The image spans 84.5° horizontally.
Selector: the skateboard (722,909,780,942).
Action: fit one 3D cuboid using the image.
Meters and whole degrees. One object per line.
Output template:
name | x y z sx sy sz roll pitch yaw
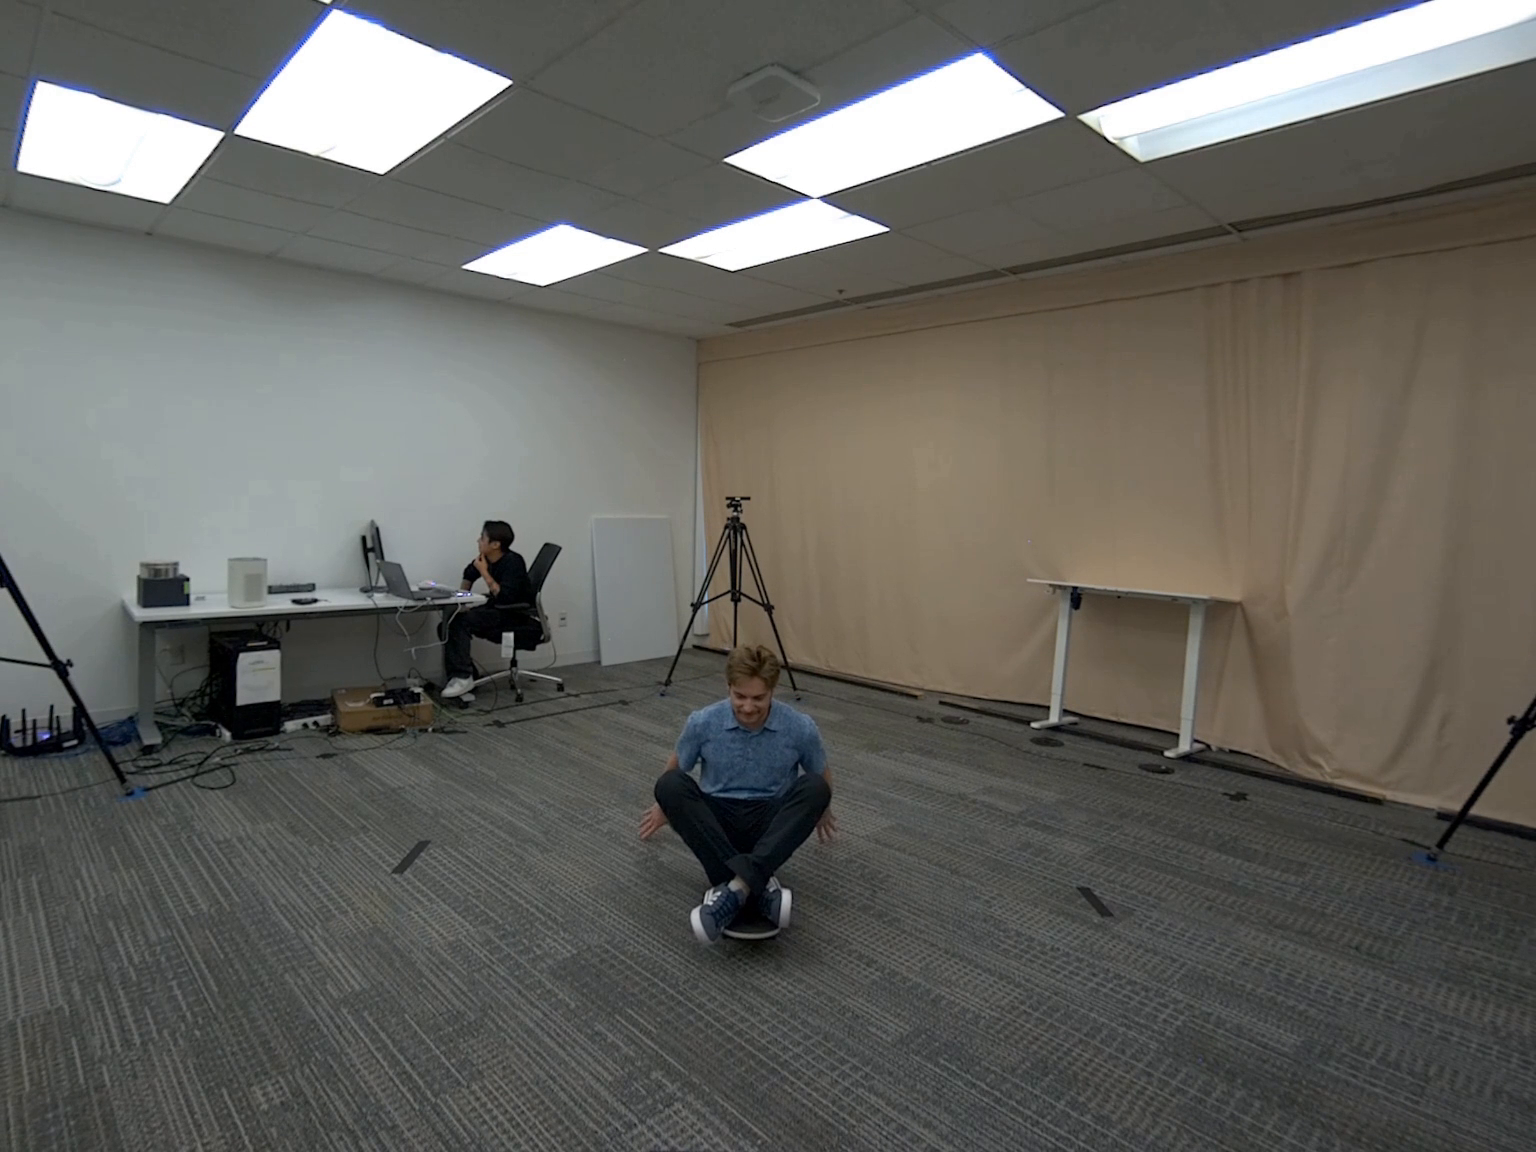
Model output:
skateboard | -0.074 1.085 2.866 0.193 0.110 0.789 0 5 -4
